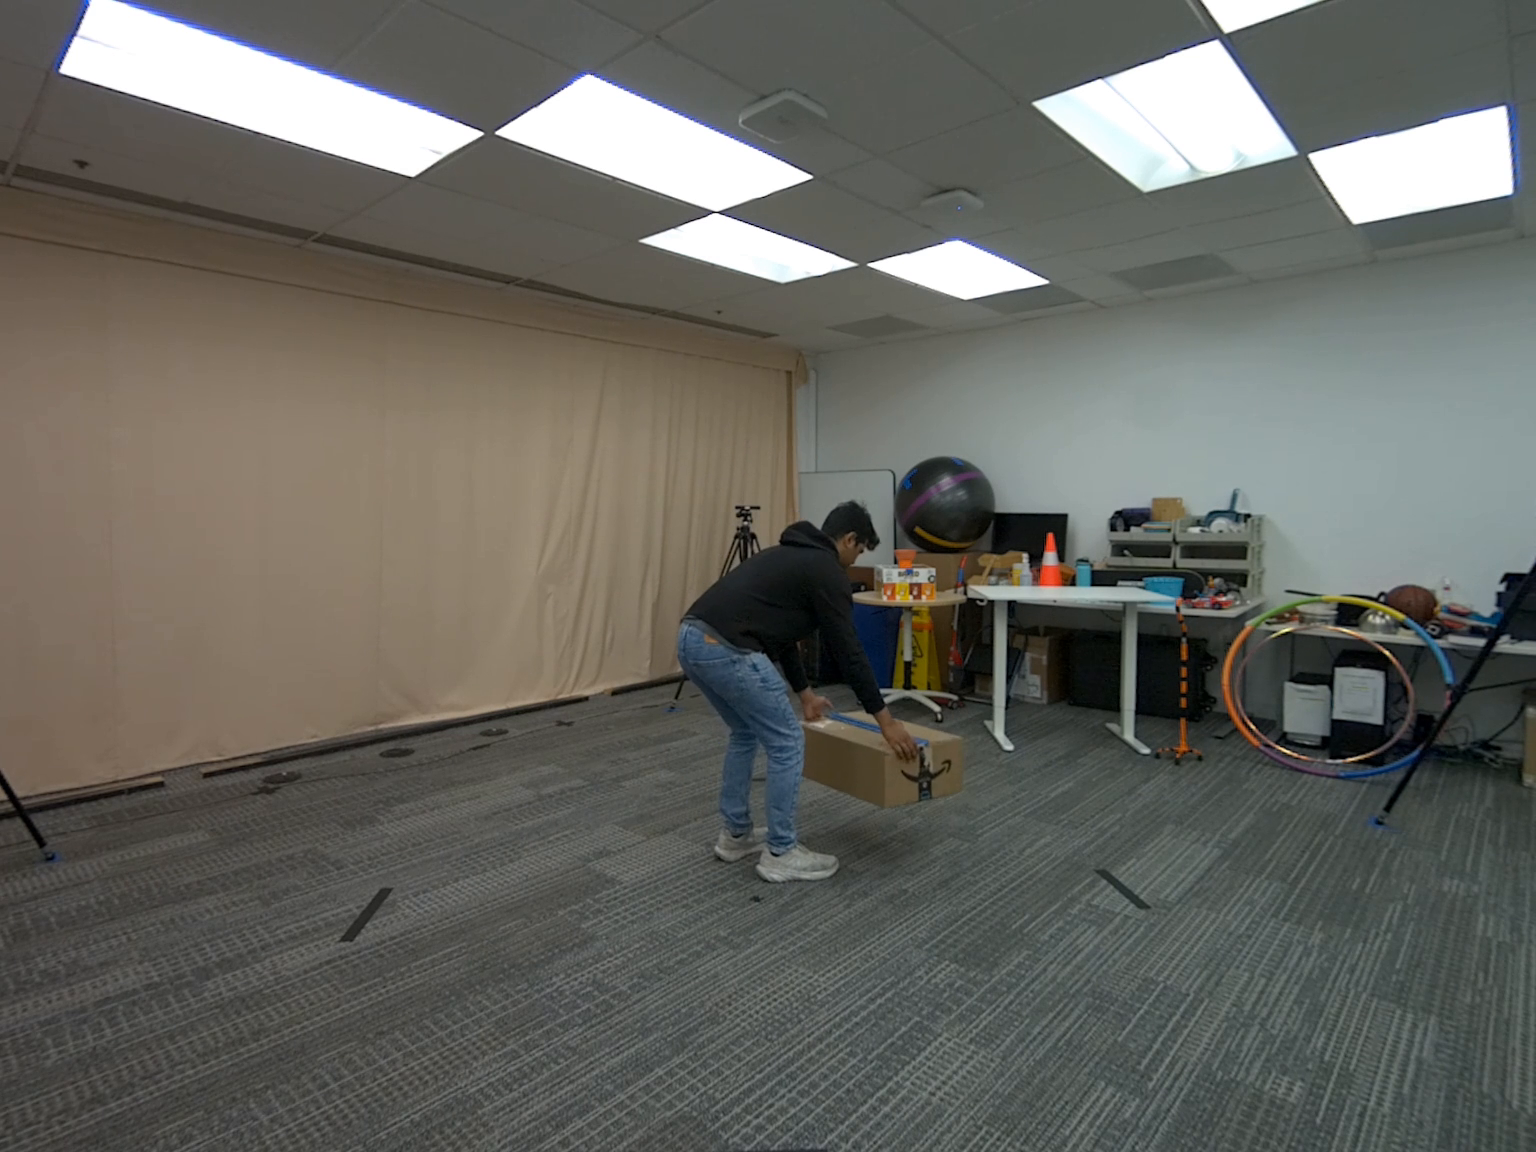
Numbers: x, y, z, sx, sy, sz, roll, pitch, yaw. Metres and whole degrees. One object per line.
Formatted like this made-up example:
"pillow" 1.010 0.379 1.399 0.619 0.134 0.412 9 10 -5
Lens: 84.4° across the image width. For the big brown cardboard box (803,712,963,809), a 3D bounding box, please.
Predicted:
"big brown cardboard box" 0.429 0.740 3.436 0.405 0.233 0.607 -2 4 -34
